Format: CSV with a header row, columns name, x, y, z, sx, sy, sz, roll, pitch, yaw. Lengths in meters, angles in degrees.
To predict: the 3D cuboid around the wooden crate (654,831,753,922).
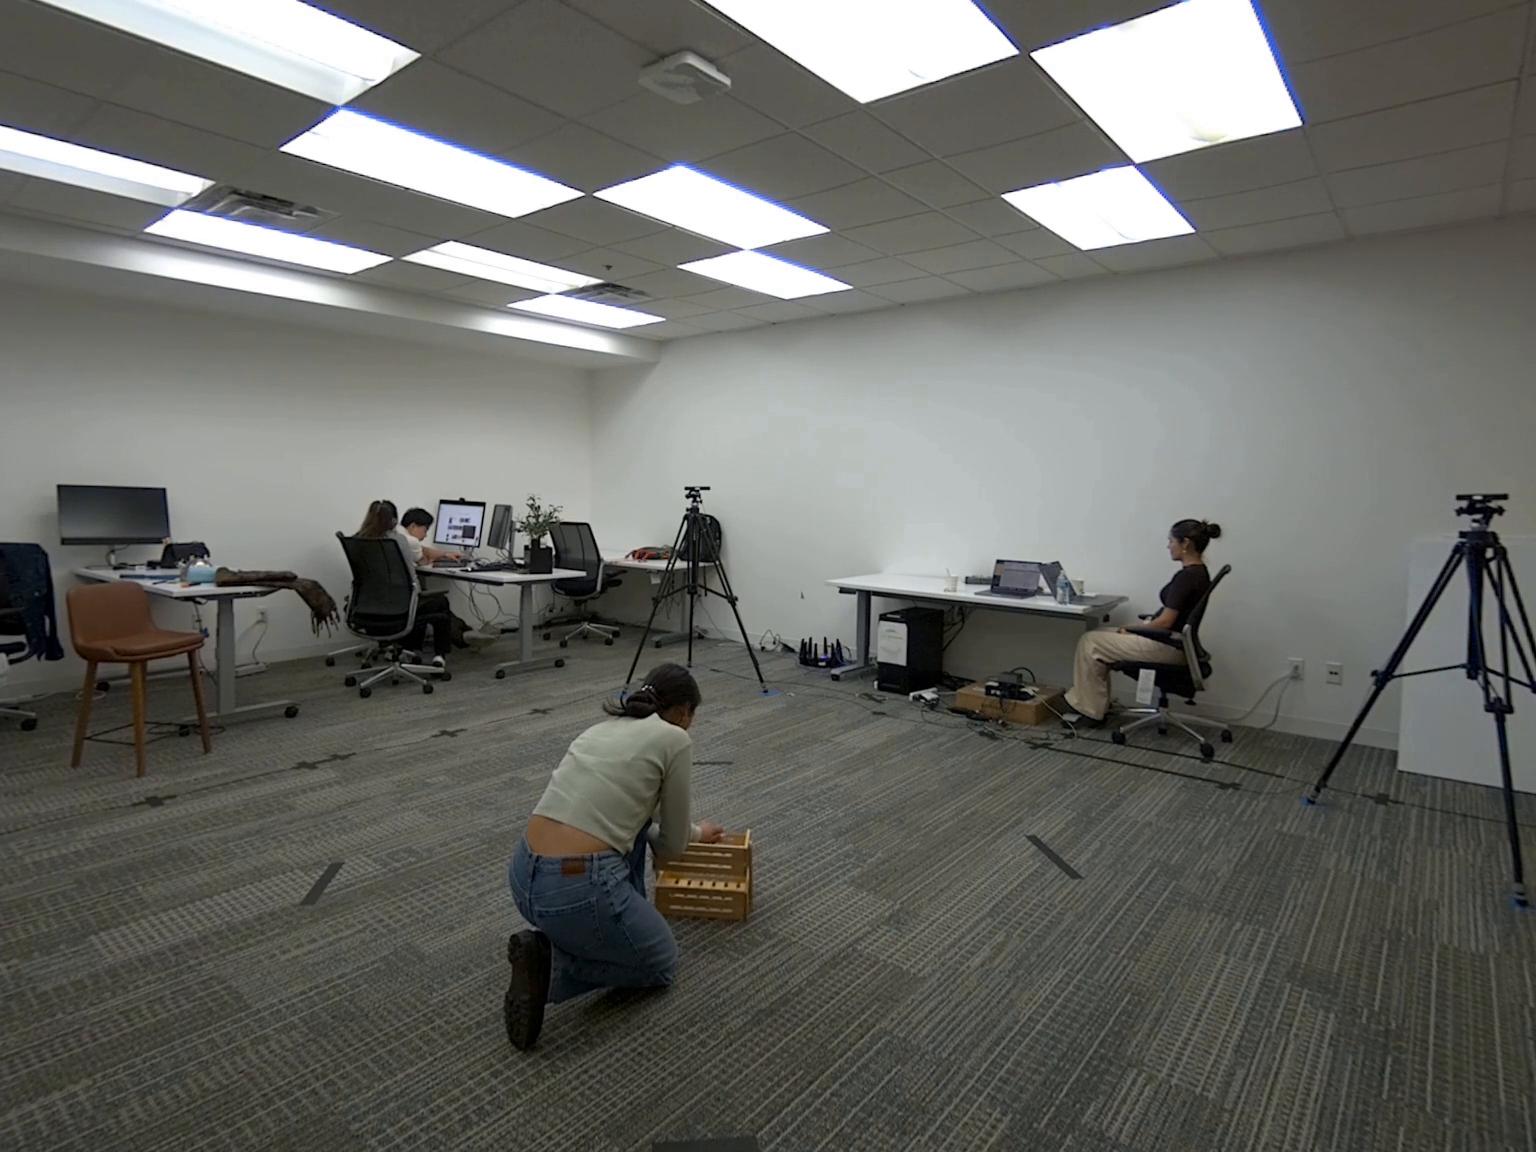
name,x,y,z,sx,sy,sz,roll,pitch,yaw
wooden crate,-0.218,0.957,2.844,0.327,0.272,0.301,1,4,5
